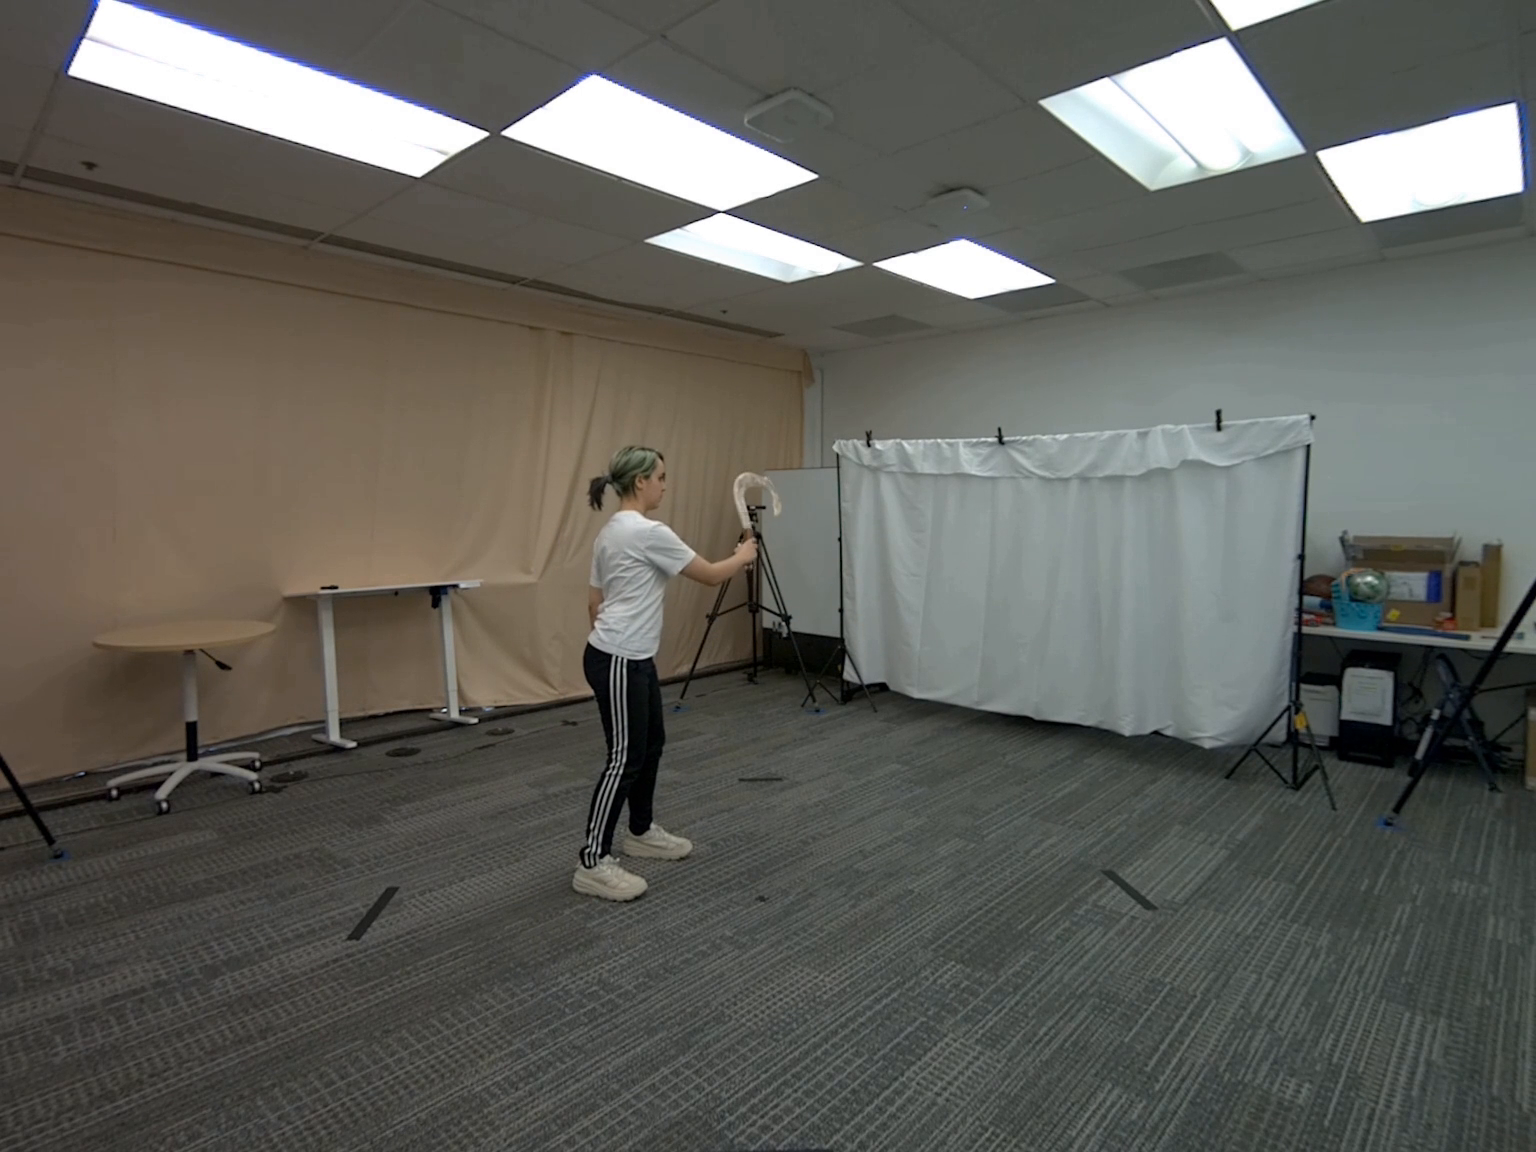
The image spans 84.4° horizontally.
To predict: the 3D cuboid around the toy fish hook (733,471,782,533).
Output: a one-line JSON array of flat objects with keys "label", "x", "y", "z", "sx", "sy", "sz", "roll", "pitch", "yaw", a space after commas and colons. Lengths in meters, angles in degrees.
[{"label": "toy fish hook", "x": -0.030, "y": -0.207, "z": 3.545, "sx": 0.221, "sy": 0.514, "sz": 0.048, "roll": 12, "pitch": -34, "yaw": -15}]
